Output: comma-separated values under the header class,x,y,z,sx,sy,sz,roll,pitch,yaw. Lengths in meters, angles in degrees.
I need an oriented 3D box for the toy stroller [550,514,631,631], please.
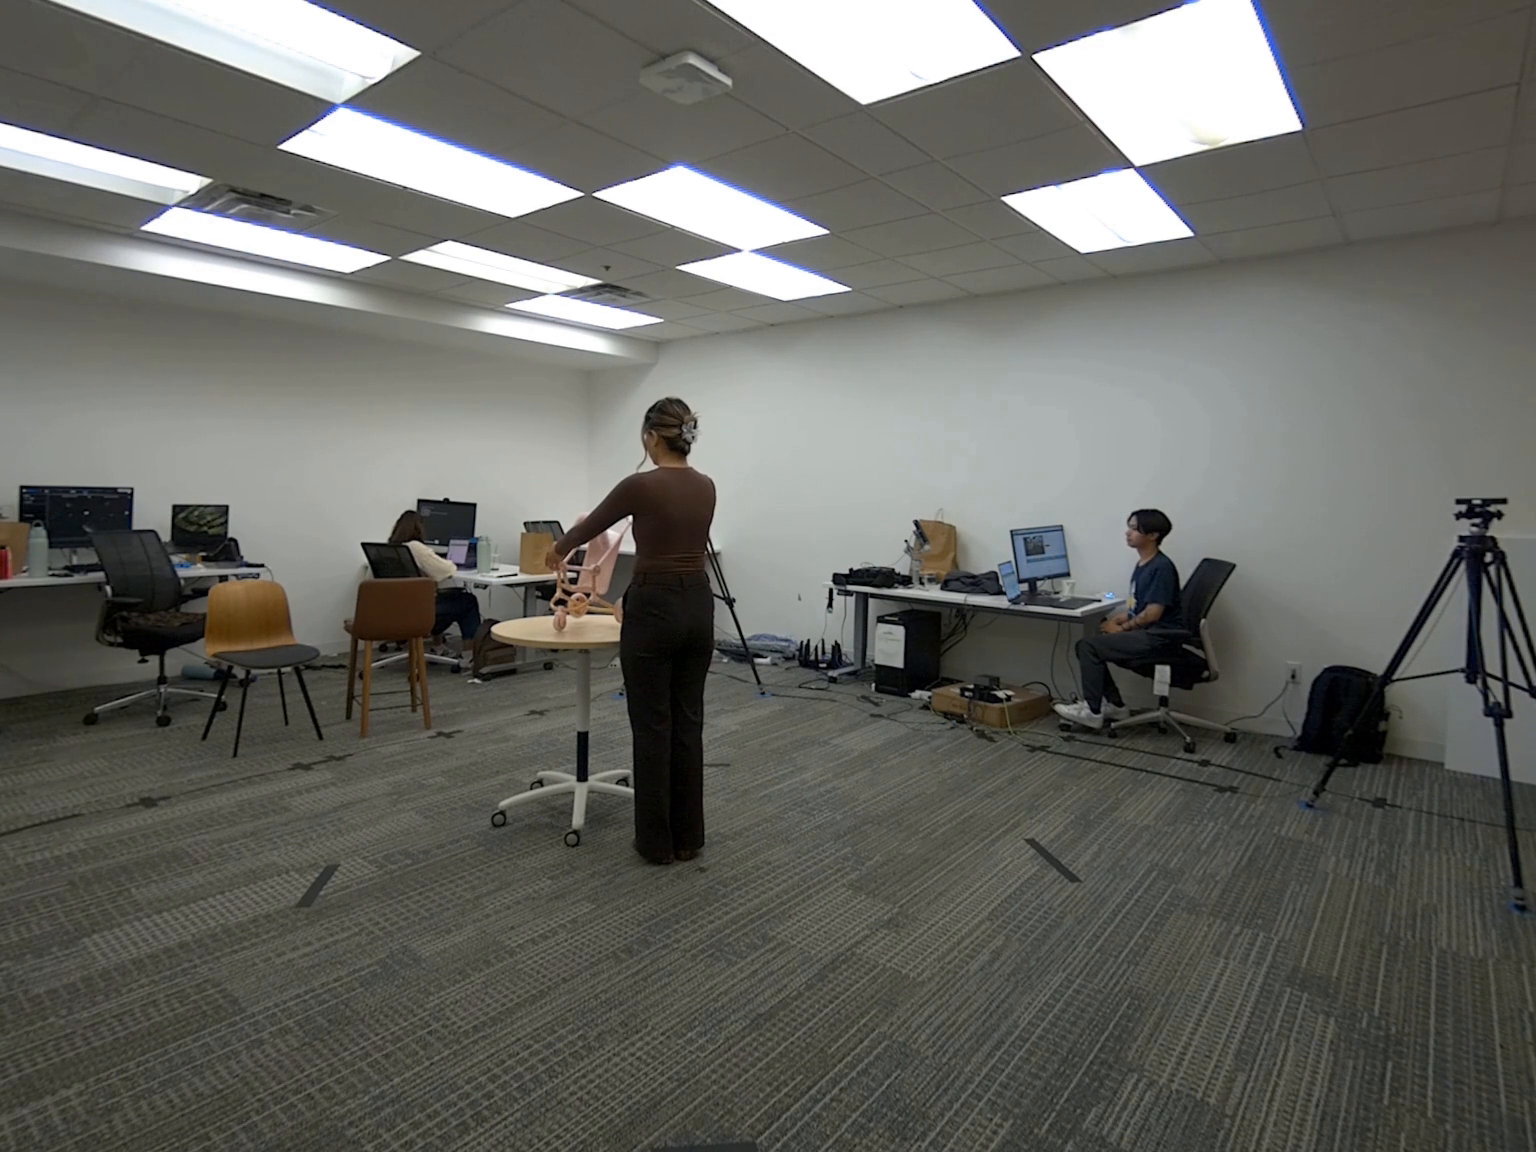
class,x,y,z,sx,sy,sz,roll,pitch,yaw
toy stroller,-0.775,-0.028,3.605,0.290,0.537,0.329,3,-5,35
